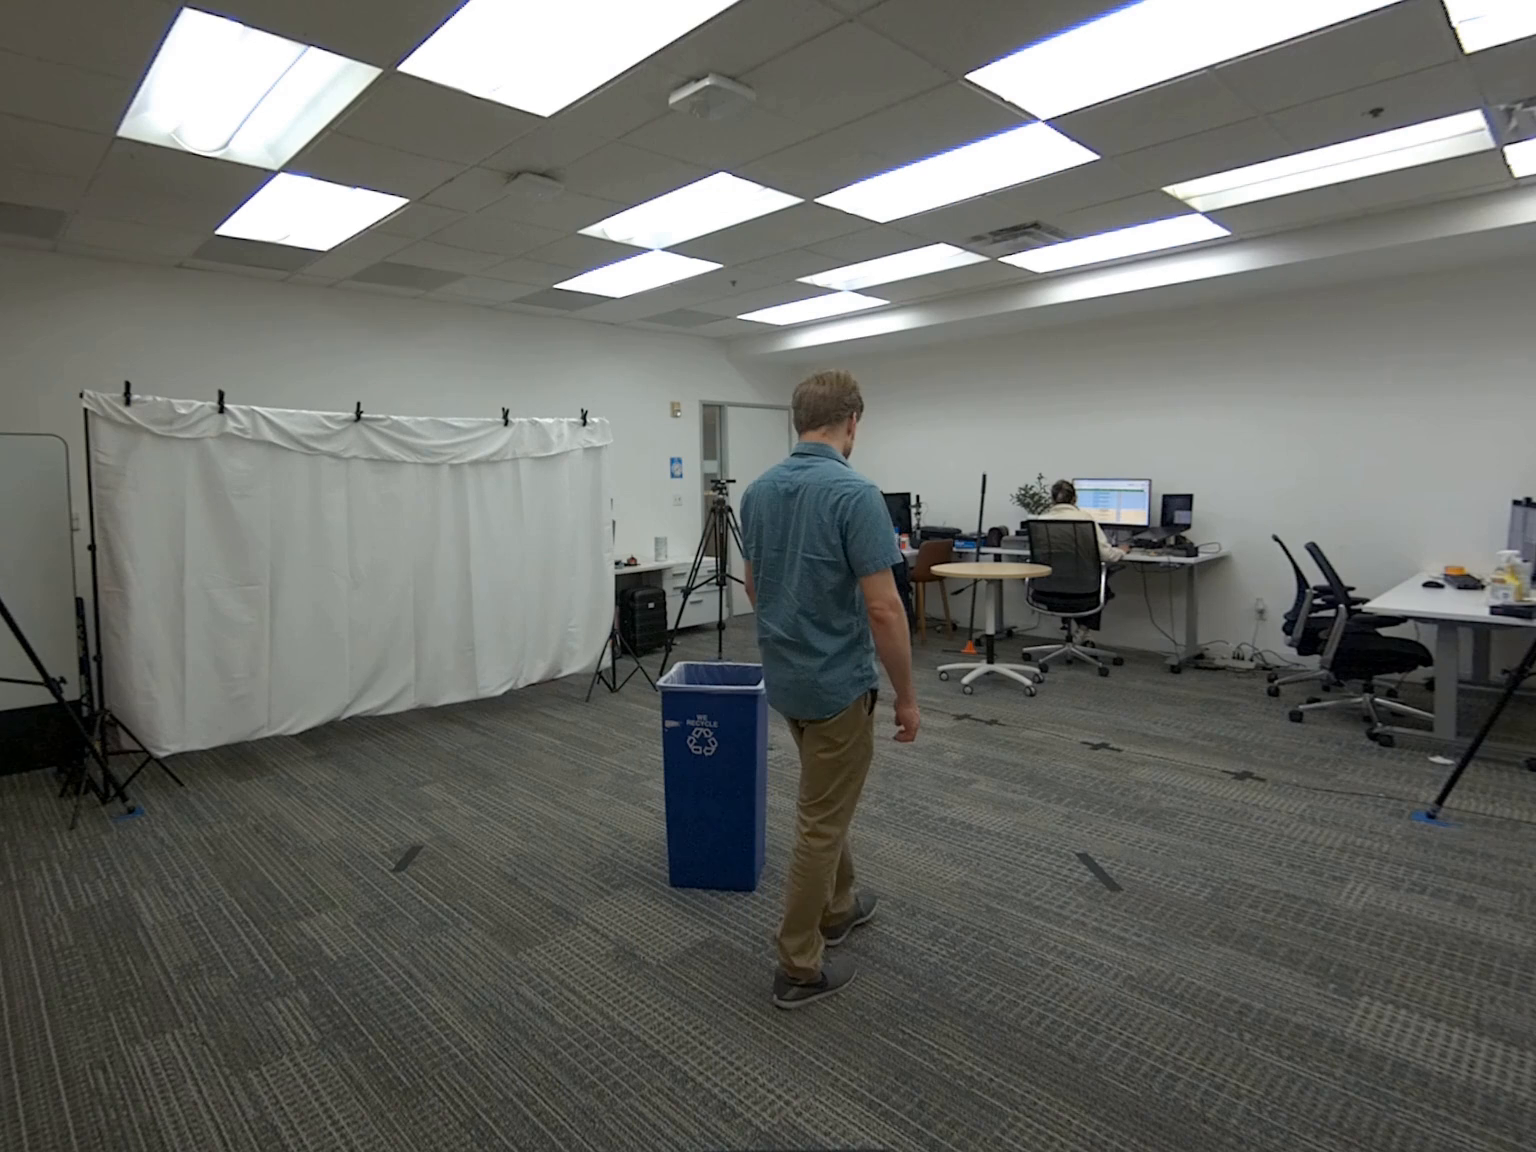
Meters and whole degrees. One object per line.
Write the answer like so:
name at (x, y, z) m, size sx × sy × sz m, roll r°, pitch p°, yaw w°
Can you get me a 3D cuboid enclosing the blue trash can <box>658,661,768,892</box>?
blue trash can at (-0.169, 0.699, 3.044) m, size 0.377 × 0.711 × 0.376 m, roll 0°, pitch 4°, yaw 8°
